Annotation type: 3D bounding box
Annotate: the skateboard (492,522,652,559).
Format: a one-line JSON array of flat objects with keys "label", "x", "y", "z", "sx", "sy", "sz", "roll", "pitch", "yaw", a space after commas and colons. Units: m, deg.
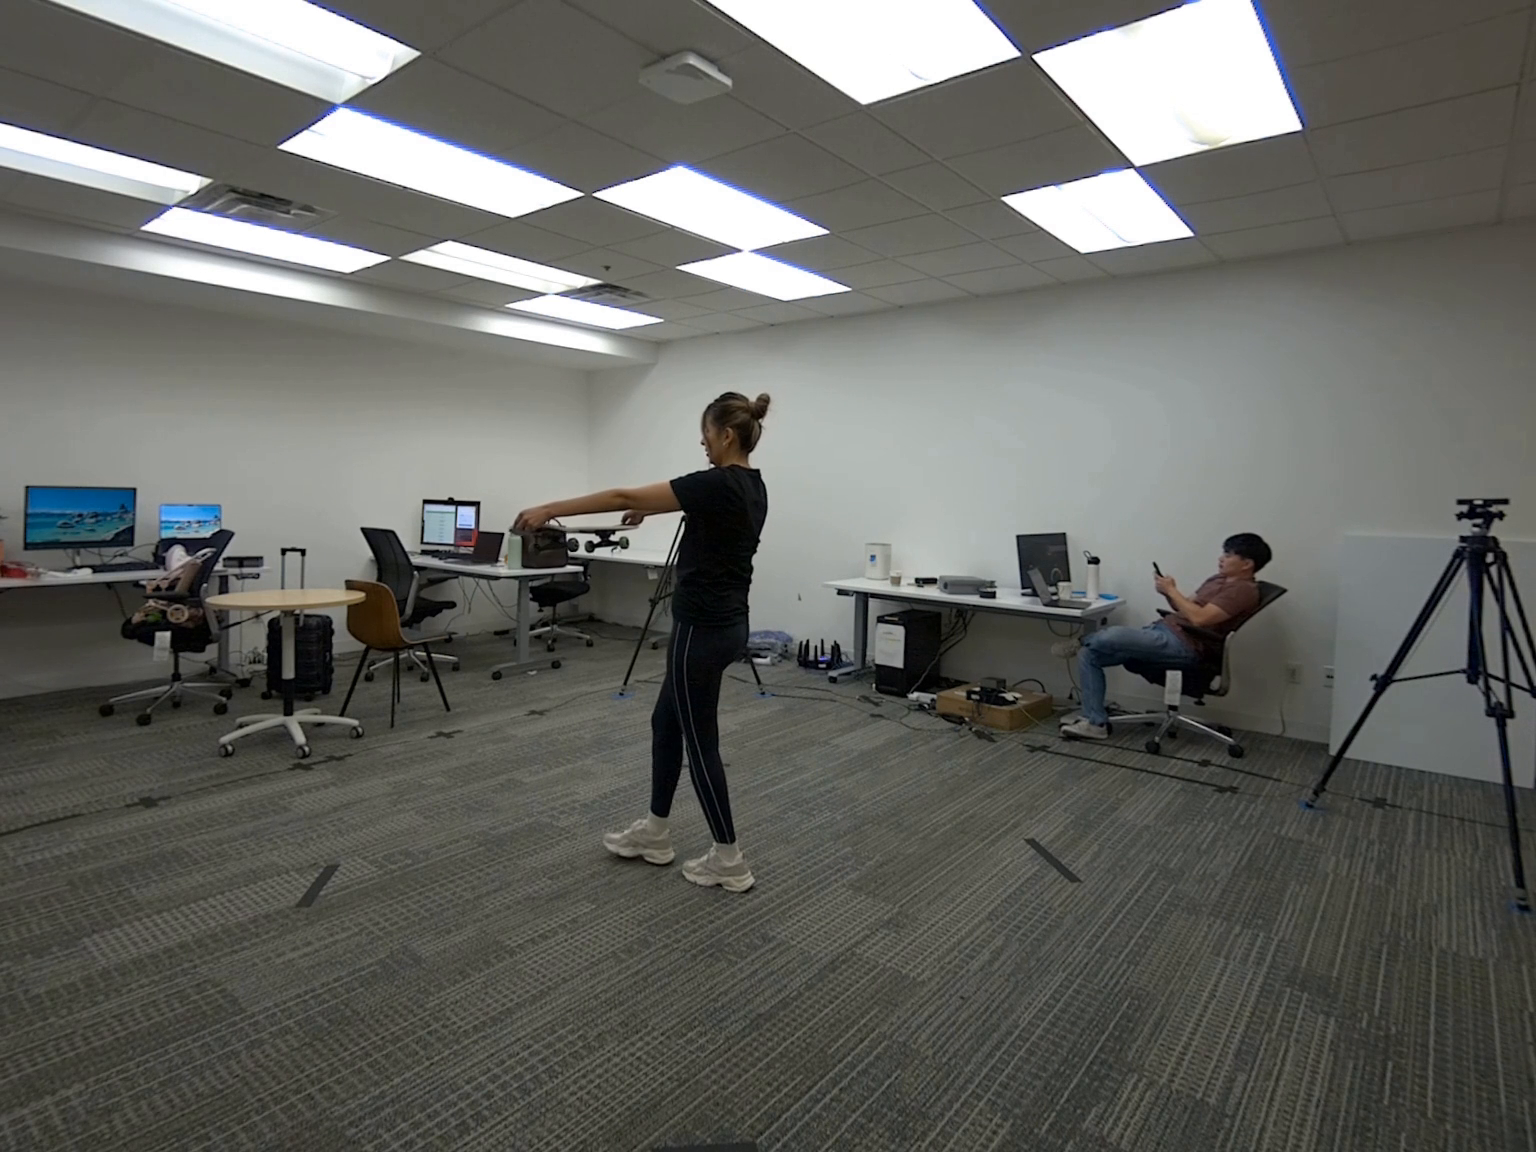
[{"label": "skateboard", "x": -0.711, "y": -0.138, "z": 3.169, "sx": 0.197, "sy": 0.110, "sz": 0.769, "roll": -3, "pitch": 2, "yaw": 20}]
